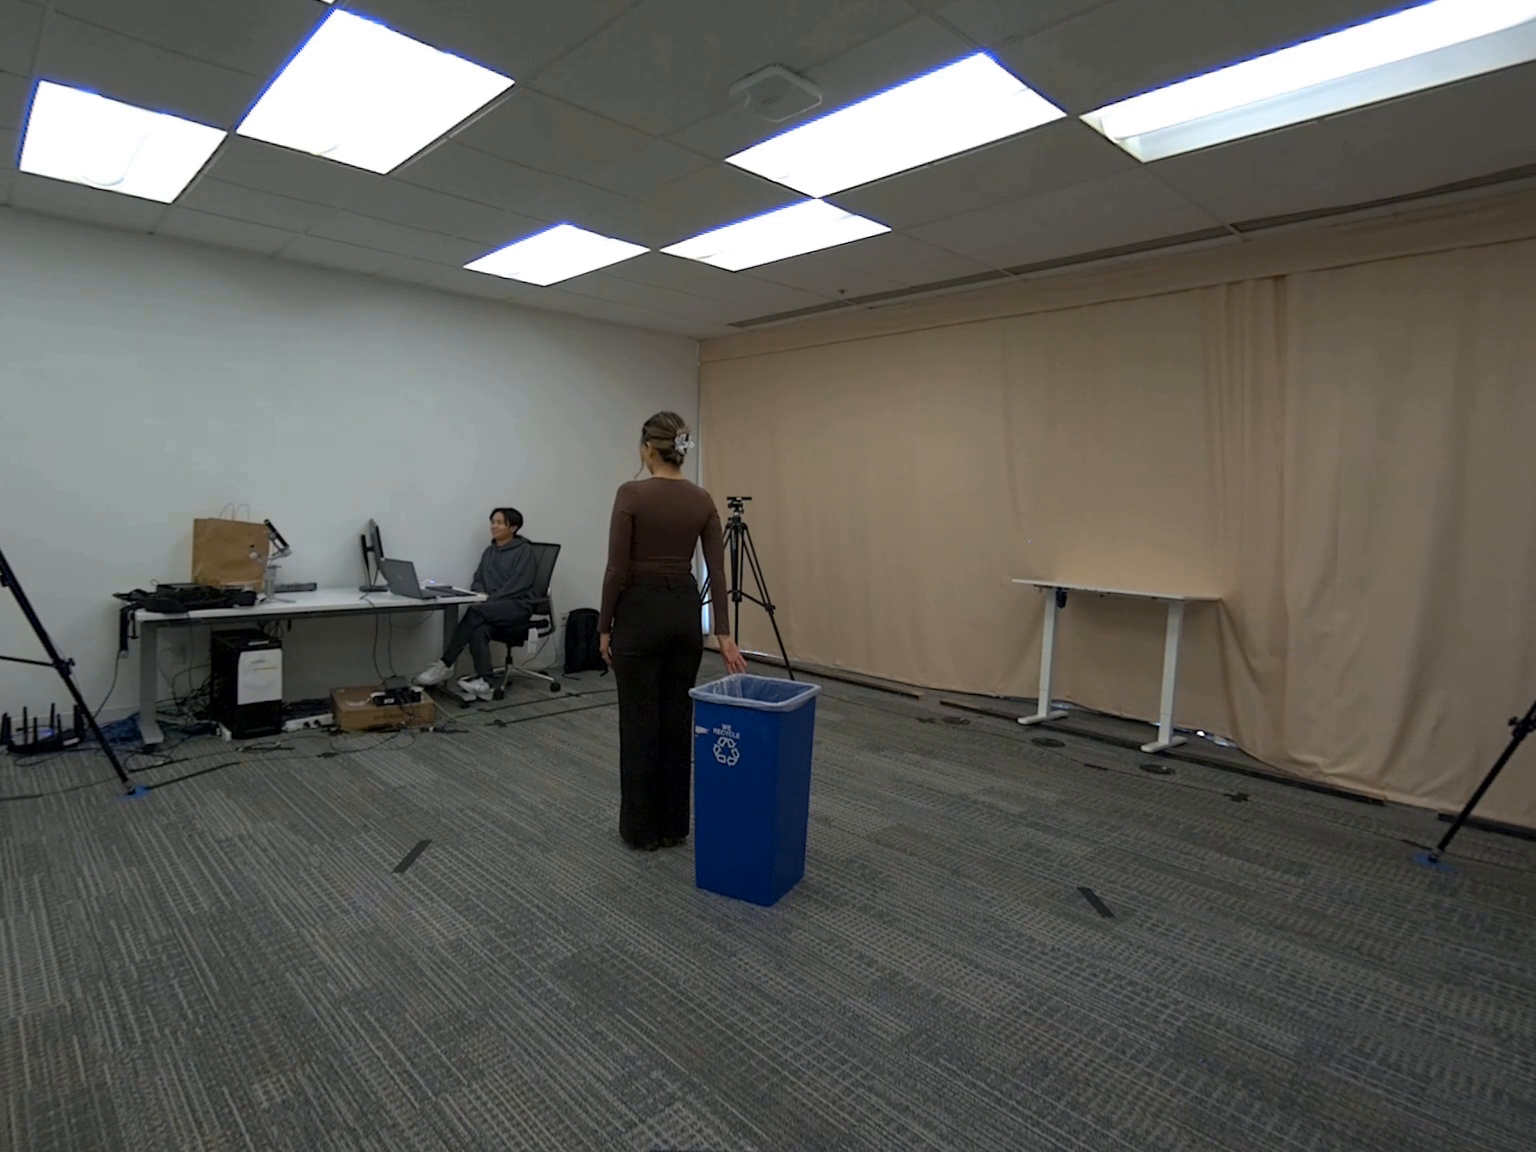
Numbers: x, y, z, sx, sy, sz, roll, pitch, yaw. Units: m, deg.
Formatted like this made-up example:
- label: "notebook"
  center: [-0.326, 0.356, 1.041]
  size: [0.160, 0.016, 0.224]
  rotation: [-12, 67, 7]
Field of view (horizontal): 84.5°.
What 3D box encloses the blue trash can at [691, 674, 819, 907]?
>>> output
- label: "blue trash can"
  center: [-0.062, 0.754, 3.047]
  size: [0.386, 0.711, 0.367]
  rotation: [3, 5, 27]
